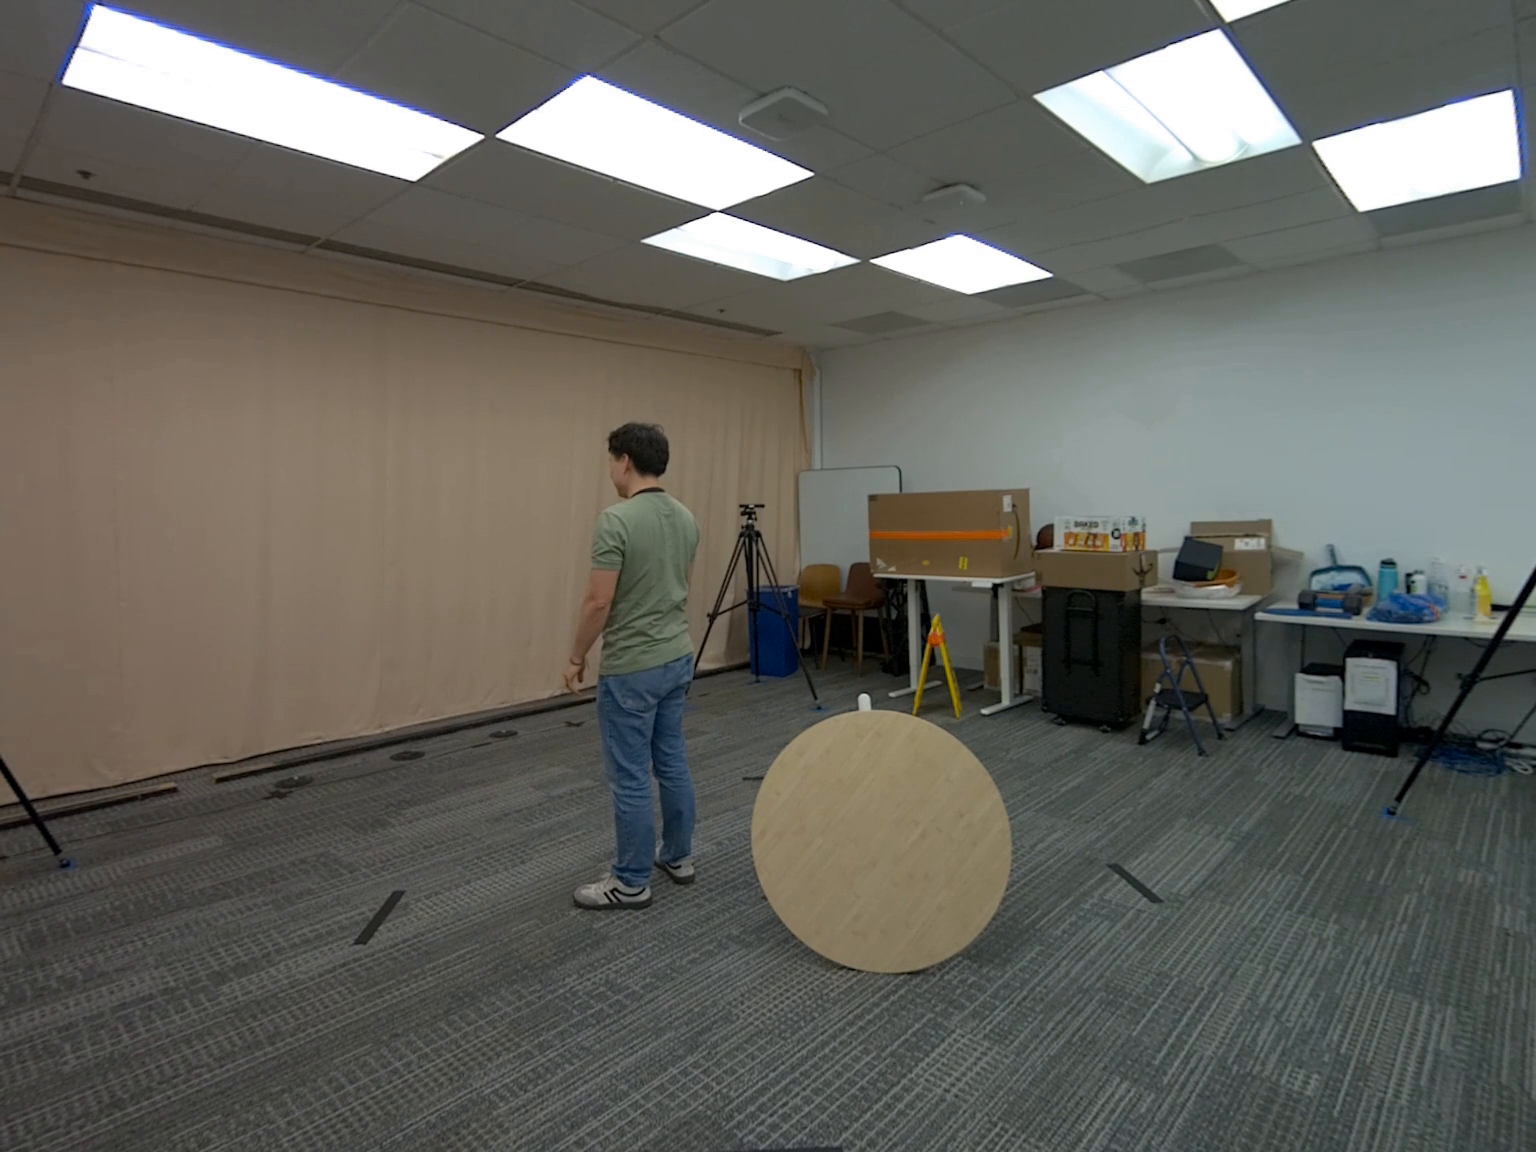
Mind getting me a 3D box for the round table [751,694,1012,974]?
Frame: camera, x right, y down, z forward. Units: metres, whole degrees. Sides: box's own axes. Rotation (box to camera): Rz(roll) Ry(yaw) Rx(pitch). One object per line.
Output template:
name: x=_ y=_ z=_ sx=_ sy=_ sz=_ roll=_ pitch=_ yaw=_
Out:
round table: x=0.367 y=0.805 z=2.908 sx=0.770 sy=0.765 sz=0.787 roll=0 pitch=-3 yaw=6
